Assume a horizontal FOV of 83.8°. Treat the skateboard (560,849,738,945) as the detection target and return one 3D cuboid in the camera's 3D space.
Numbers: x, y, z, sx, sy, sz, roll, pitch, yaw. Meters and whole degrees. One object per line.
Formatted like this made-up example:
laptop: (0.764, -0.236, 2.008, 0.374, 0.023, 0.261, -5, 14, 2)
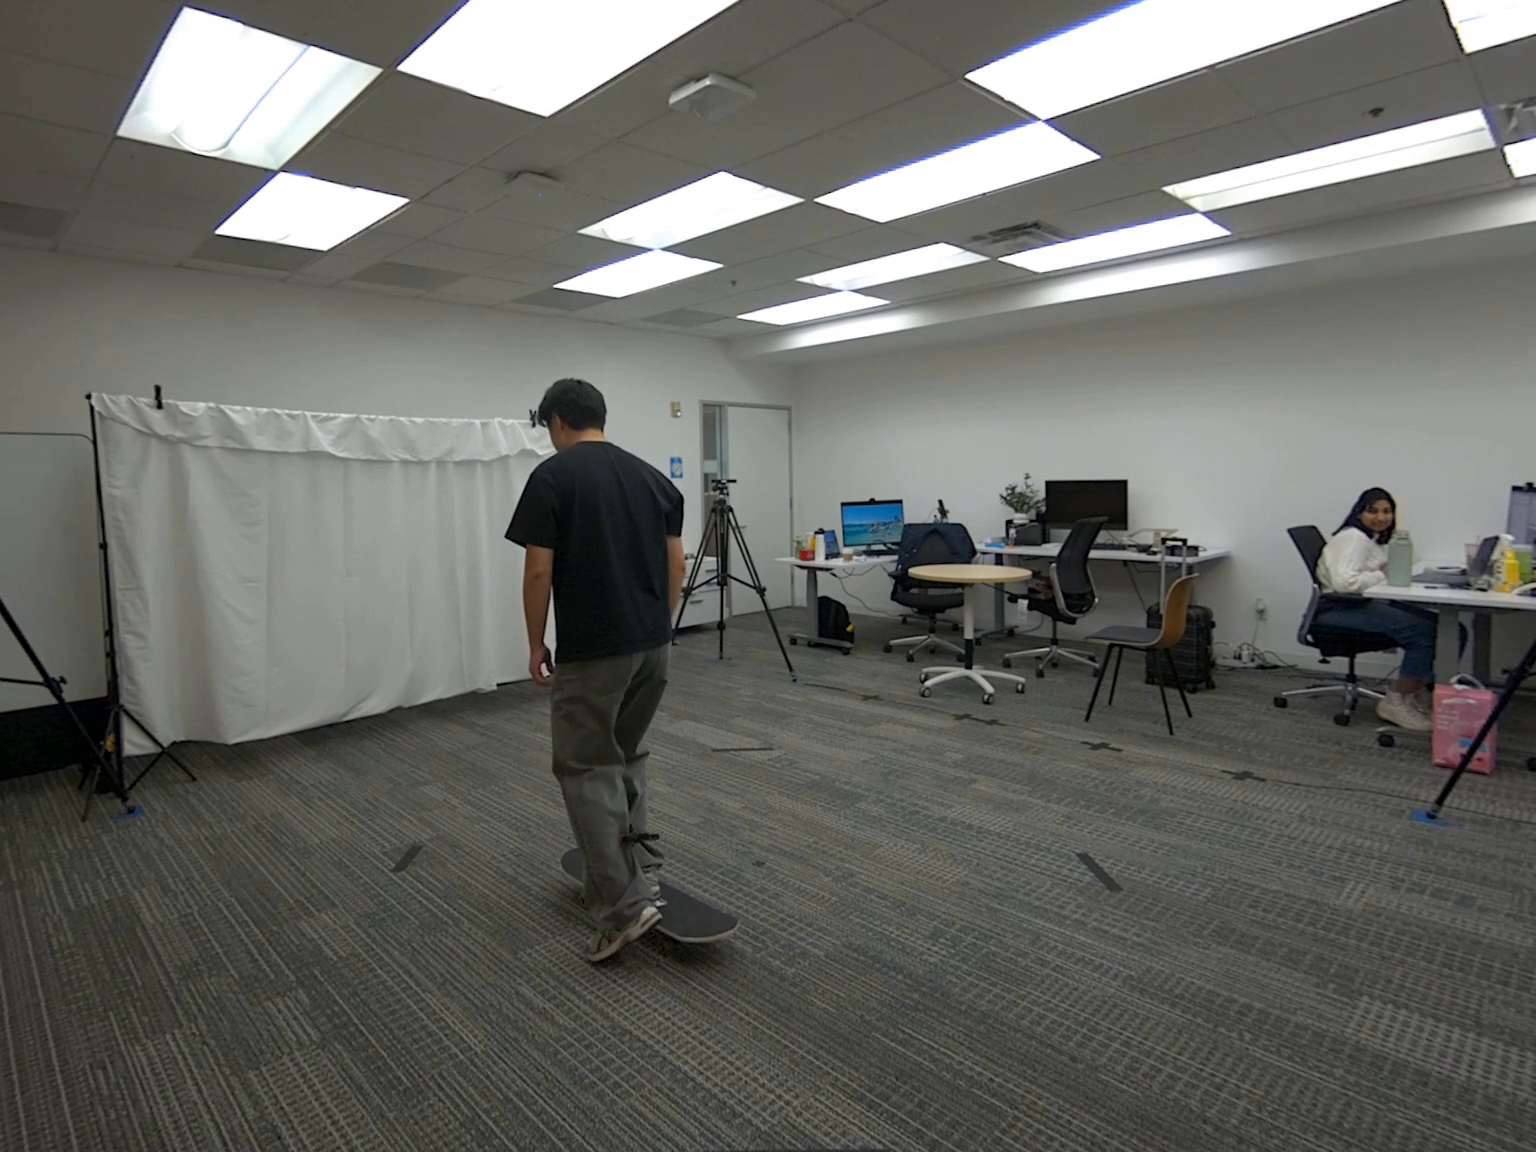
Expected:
skateboard: (-0.397, 1.049, 2.724, 0.810, 0.110, 0.188, 6, 8, 43)
